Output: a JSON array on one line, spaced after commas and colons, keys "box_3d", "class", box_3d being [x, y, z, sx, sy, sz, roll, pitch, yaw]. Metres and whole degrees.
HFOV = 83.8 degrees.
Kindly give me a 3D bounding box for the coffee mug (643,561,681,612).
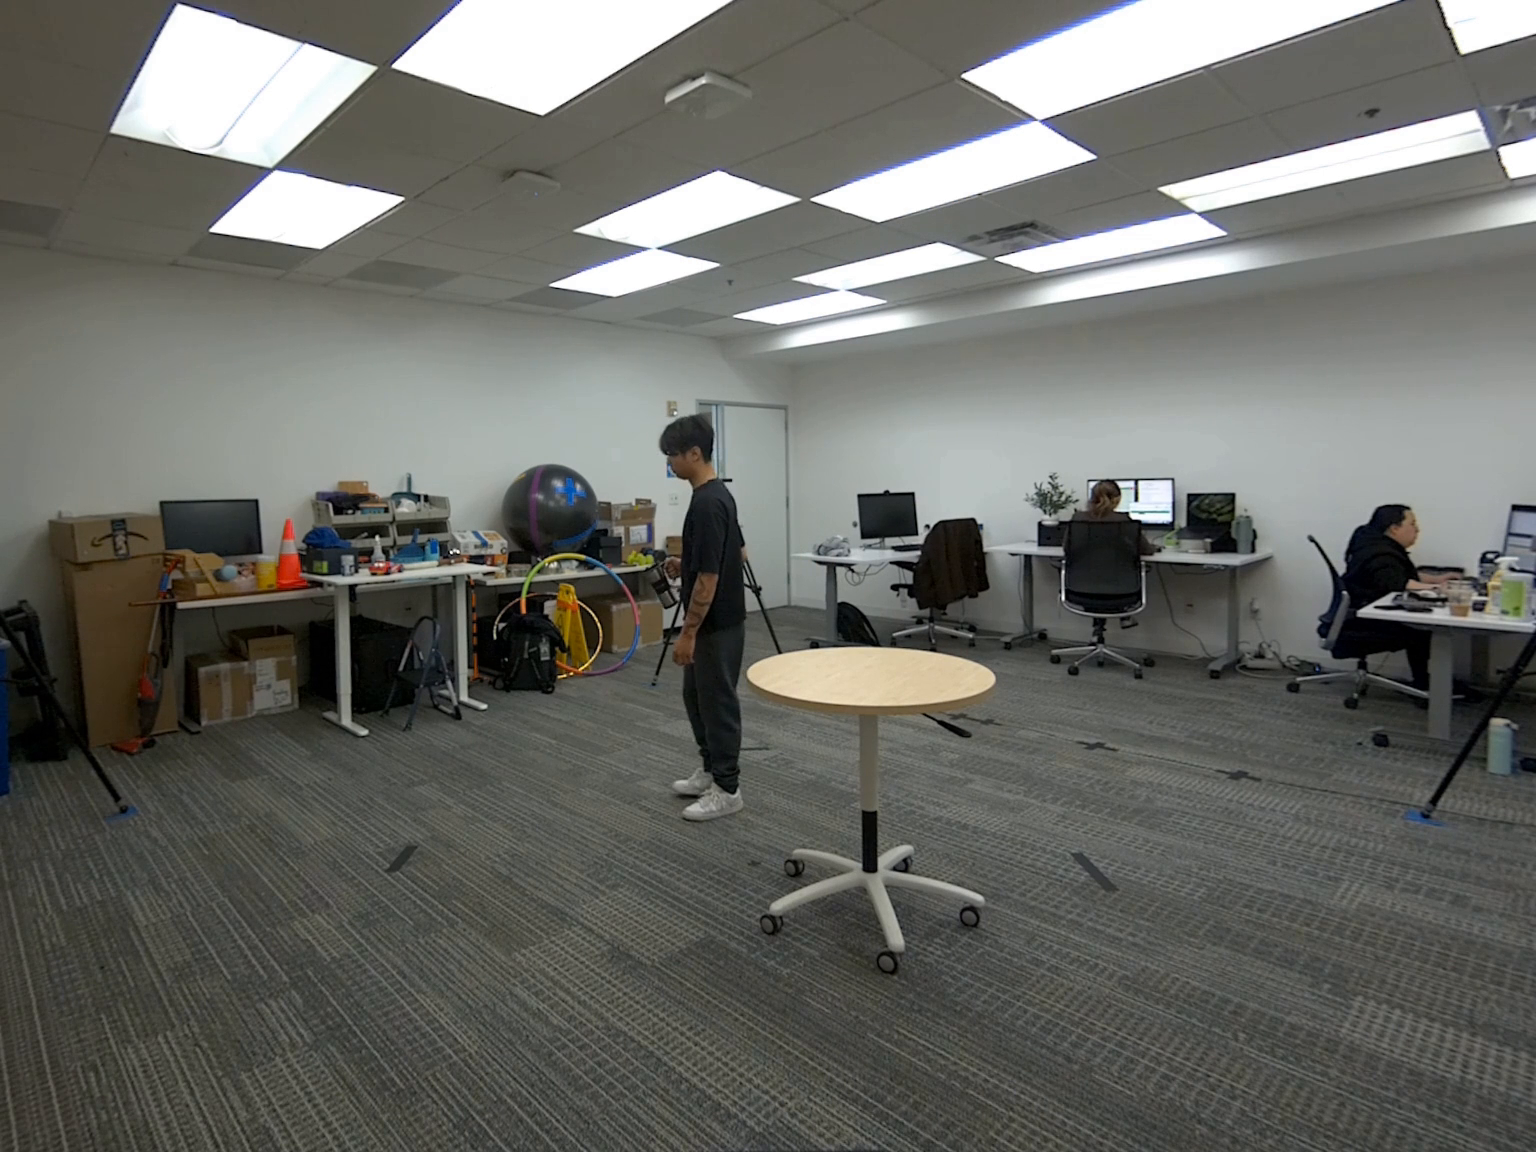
[{"box_3d": [-0.447, 0.038, 3.710, 0.124, 0.202, 0.087, -24, 3, 38], "class": "coffee mug"}]
